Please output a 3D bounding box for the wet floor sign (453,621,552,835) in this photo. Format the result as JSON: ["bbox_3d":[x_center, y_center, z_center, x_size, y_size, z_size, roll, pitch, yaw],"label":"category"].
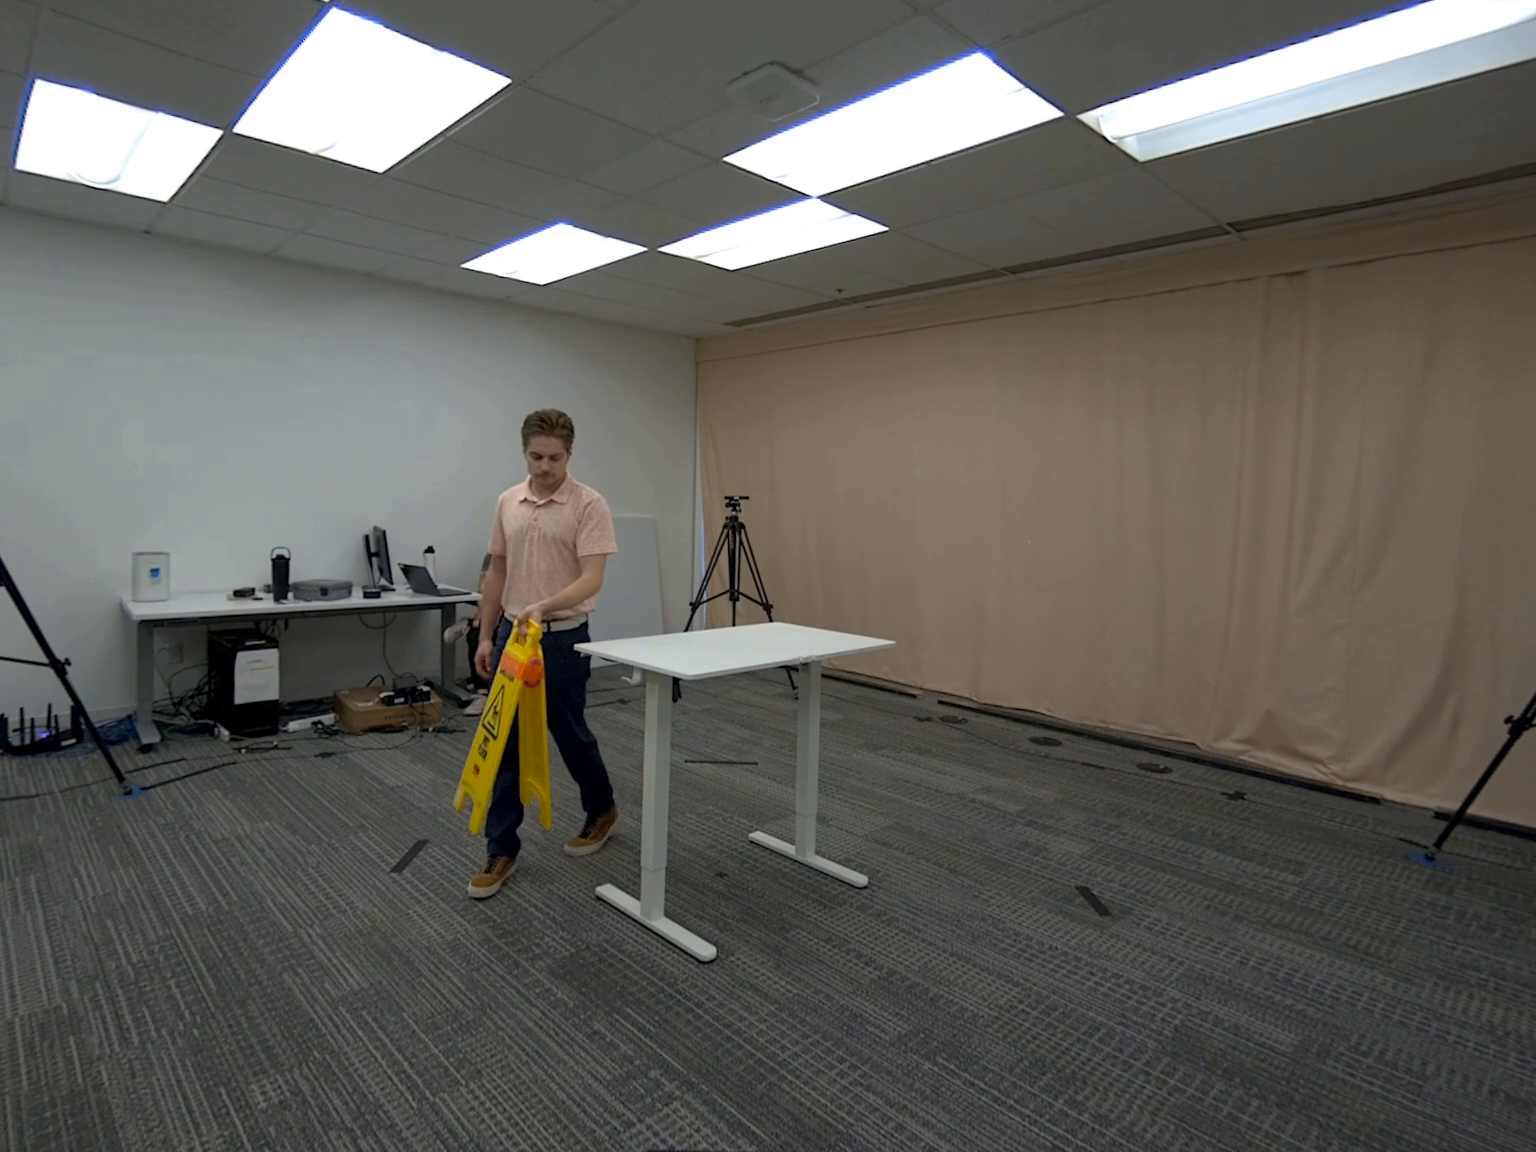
[{"bbox_3d":[-0.835,0.467,2.720,0.283,0.645,0.289,5,2,-34],"label":"wet floor sign"}]
